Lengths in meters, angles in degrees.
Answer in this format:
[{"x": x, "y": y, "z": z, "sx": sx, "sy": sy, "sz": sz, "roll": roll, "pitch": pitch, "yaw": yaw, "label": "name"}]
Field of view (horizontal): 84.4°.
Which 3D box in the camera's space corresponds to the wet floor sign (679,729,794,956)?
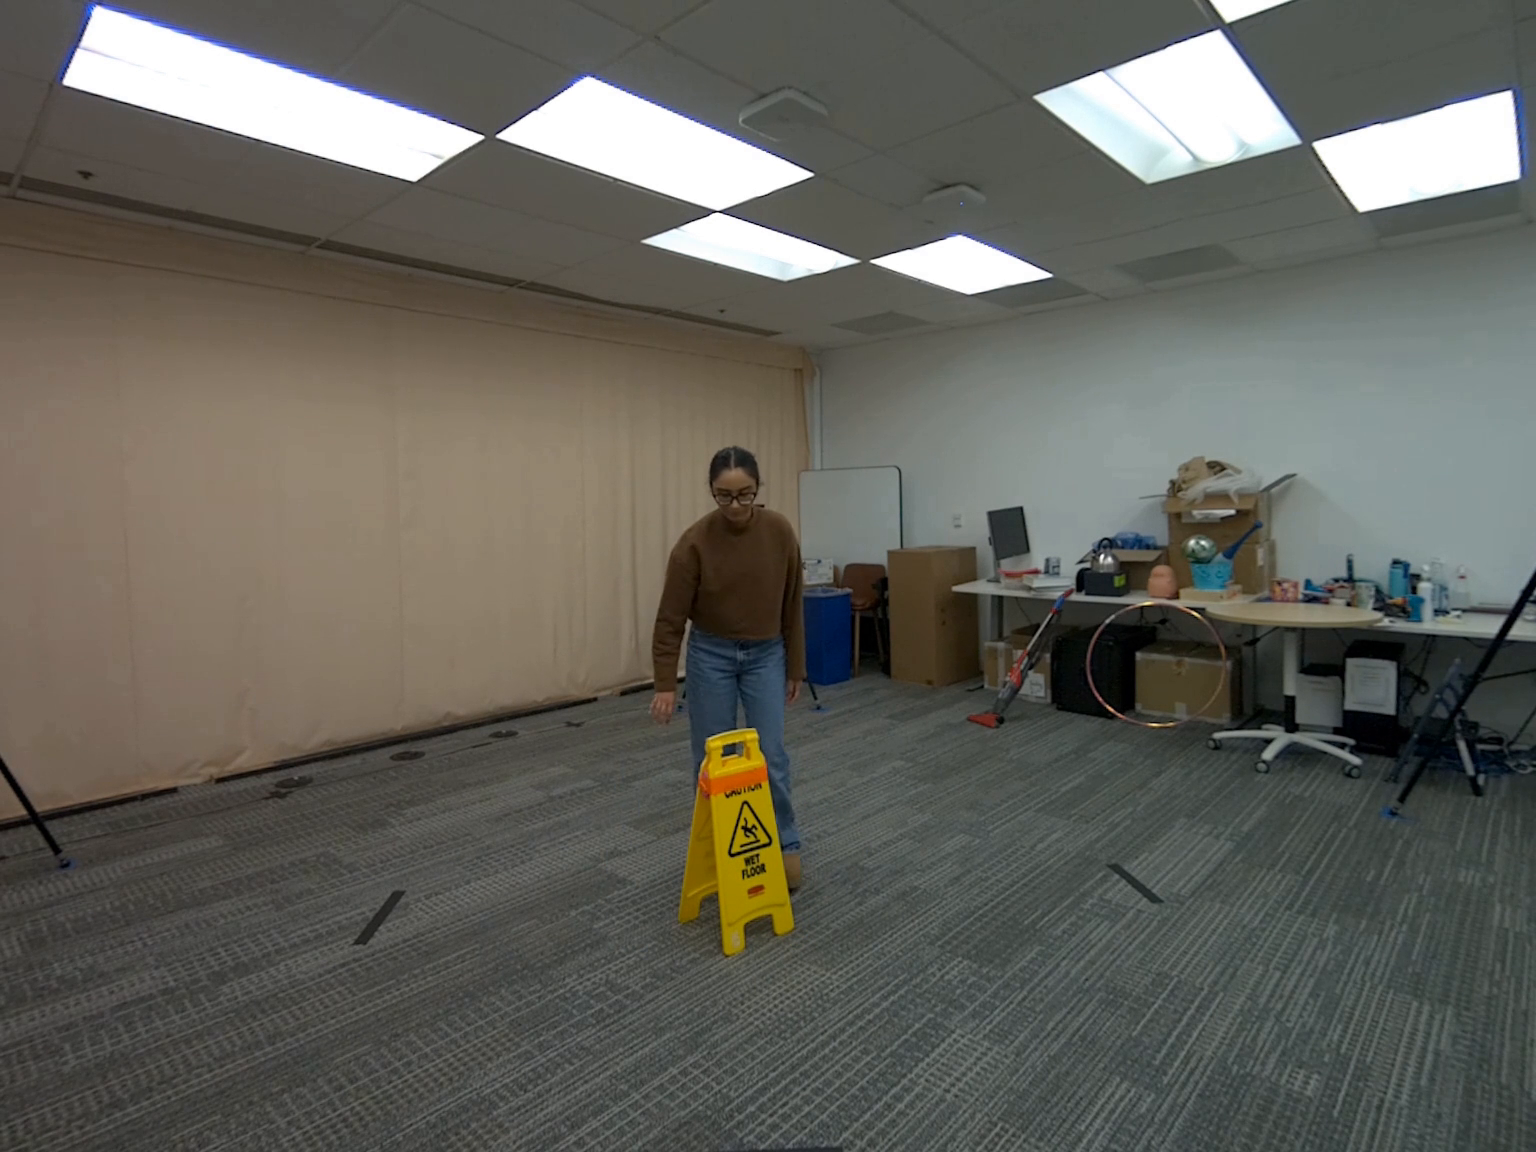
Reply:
[{"x": -0.115, "y": 0.832, "z": 2.774, "sx": 0.274, "sy": 0.645, "sz": 0.299, "roll": -3, "pitch": 4, "yaw": -38, "label": "wet floor sign"}]
